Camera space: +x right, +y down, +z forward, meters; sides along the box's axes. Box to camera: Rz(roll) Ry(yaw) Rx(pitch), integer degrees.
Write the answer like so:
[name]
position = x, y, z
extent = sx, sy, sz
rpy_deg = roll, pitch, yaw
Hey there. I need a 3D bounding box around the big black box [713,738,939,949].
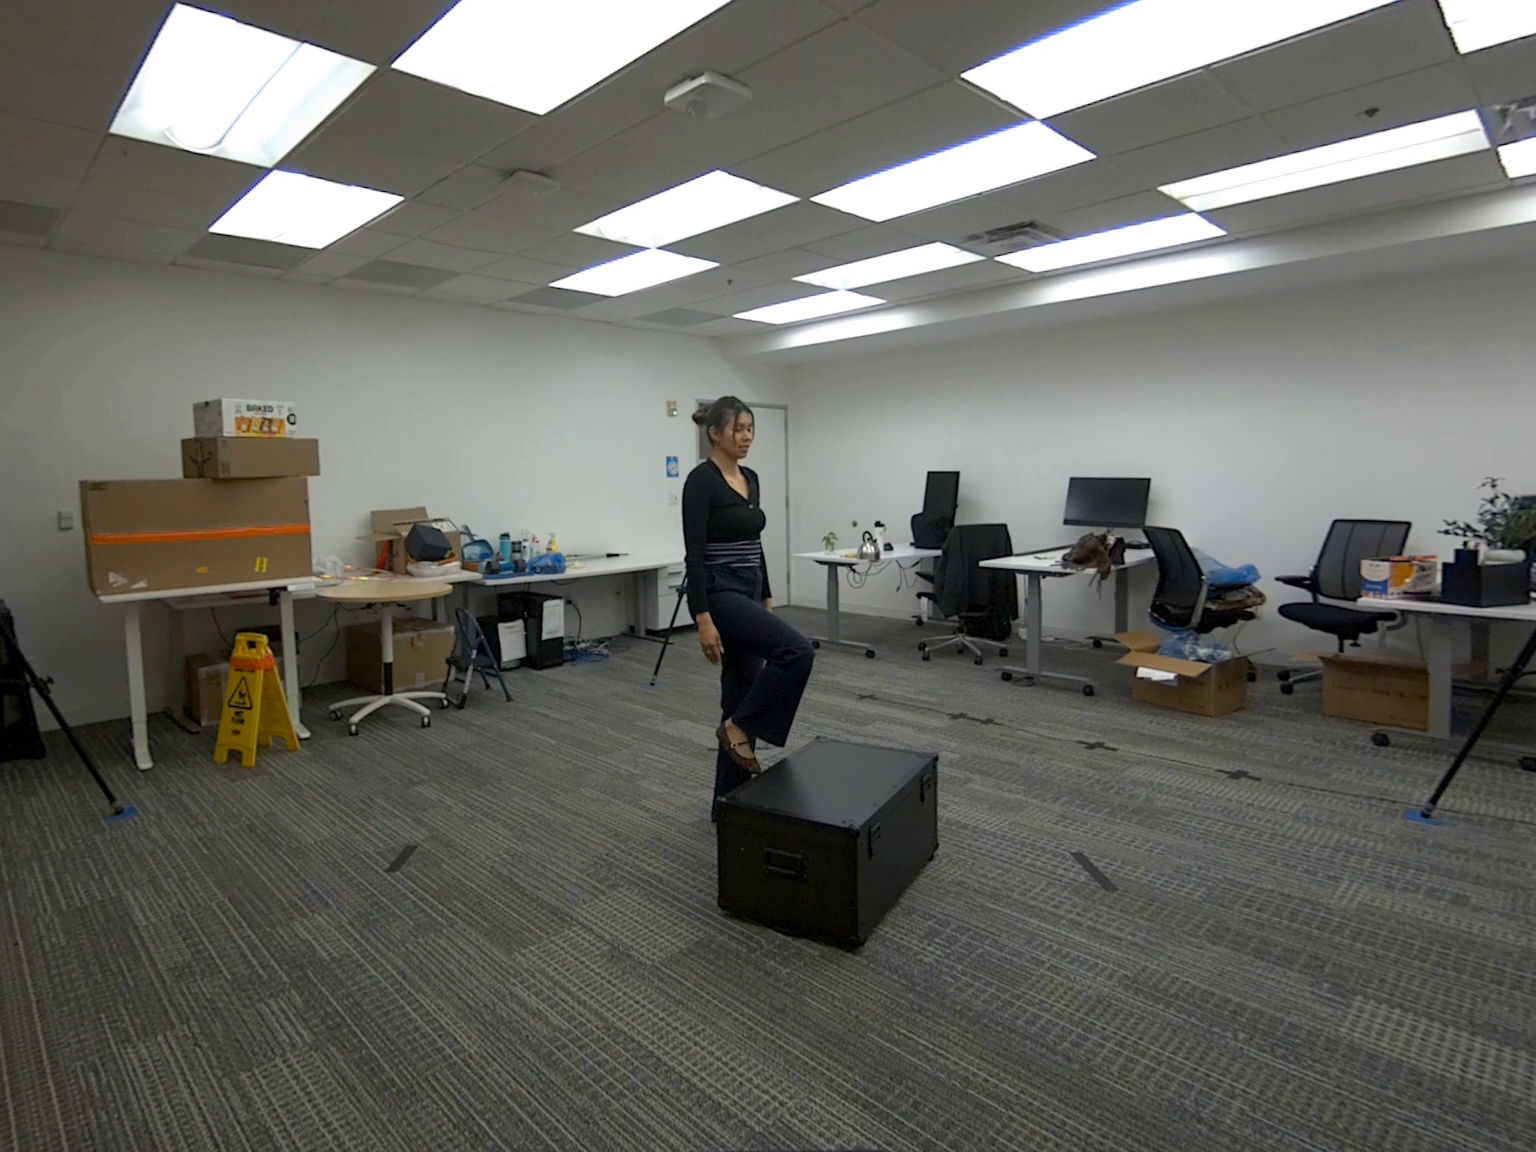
[big black box]
position = 0.251, 0.865, 2.956
extent = 0.534, 0.394, 0.843
rpy_deg = 1, 6, 29
